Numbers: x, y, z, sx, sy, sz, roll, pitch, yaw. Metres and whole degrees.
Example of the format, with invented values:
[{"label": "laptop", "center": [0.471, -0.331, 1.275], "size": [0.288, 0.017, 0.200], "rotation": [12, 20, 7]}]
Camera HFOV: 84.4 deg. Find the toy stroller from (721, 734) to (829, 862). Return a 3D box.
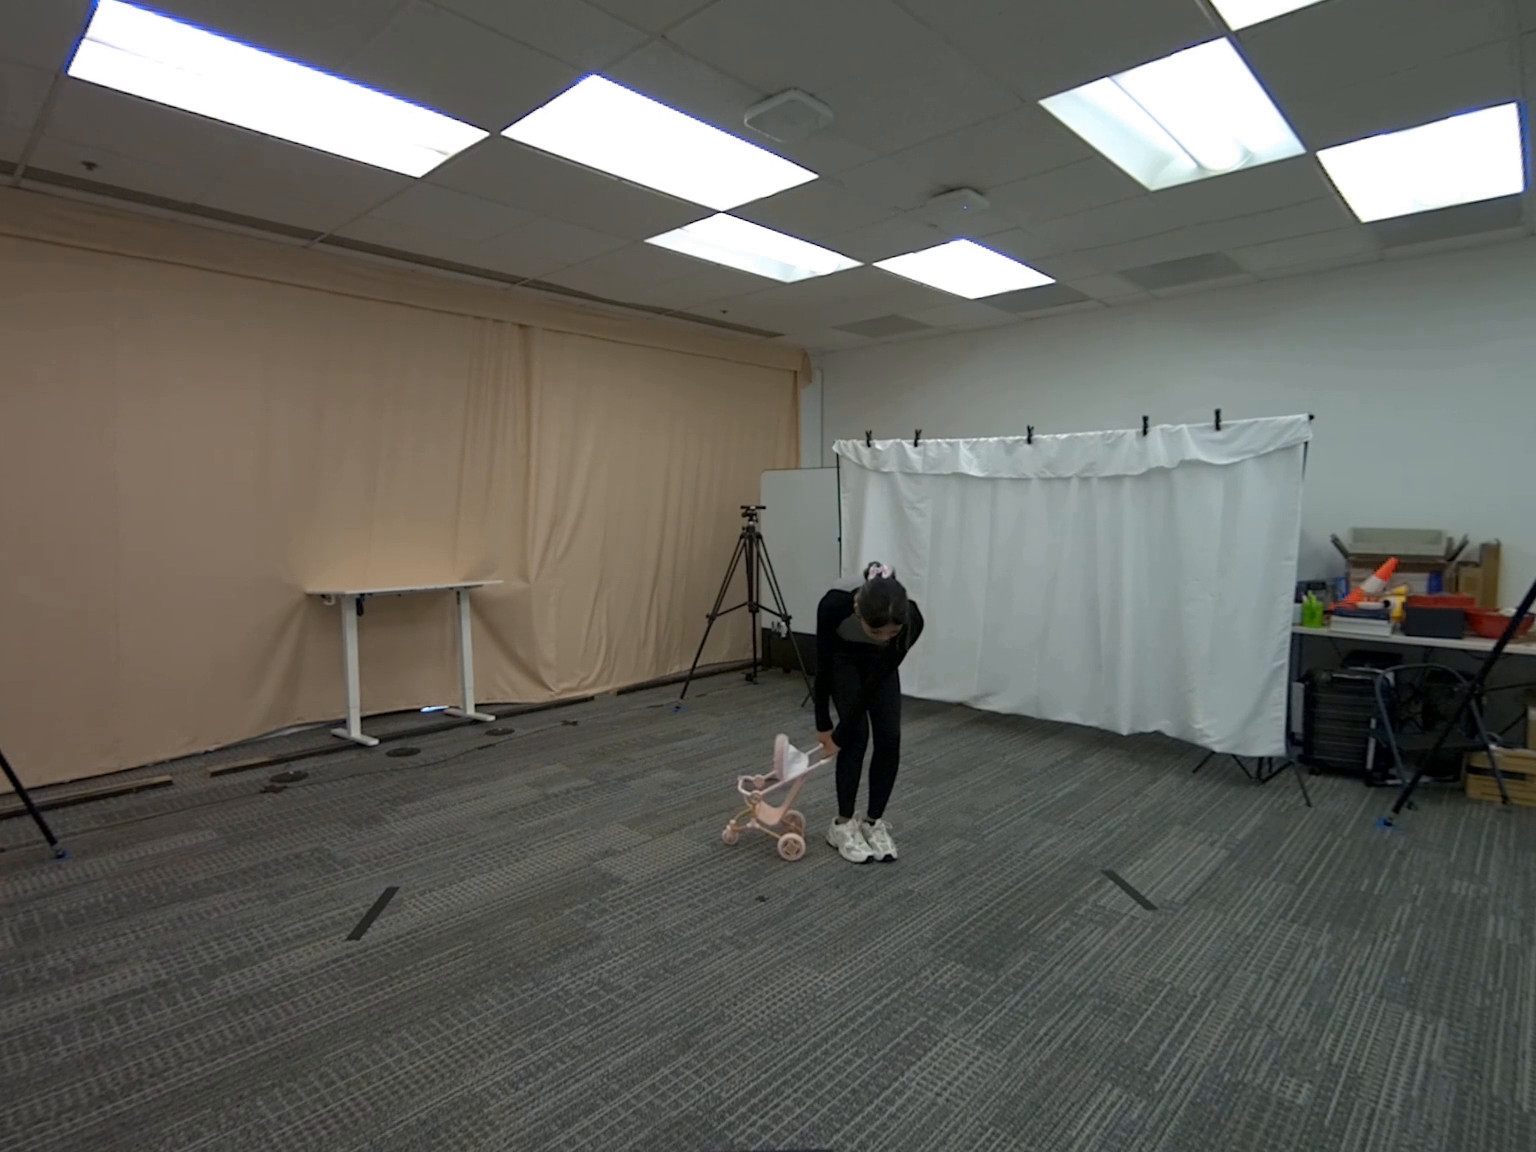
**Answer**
[{"label": "toy stroller", "center": [0.039, 0.886, 3.425], "size": [0.346, 0.534, 0.278], "rotation": [16, 6, 9]}]
